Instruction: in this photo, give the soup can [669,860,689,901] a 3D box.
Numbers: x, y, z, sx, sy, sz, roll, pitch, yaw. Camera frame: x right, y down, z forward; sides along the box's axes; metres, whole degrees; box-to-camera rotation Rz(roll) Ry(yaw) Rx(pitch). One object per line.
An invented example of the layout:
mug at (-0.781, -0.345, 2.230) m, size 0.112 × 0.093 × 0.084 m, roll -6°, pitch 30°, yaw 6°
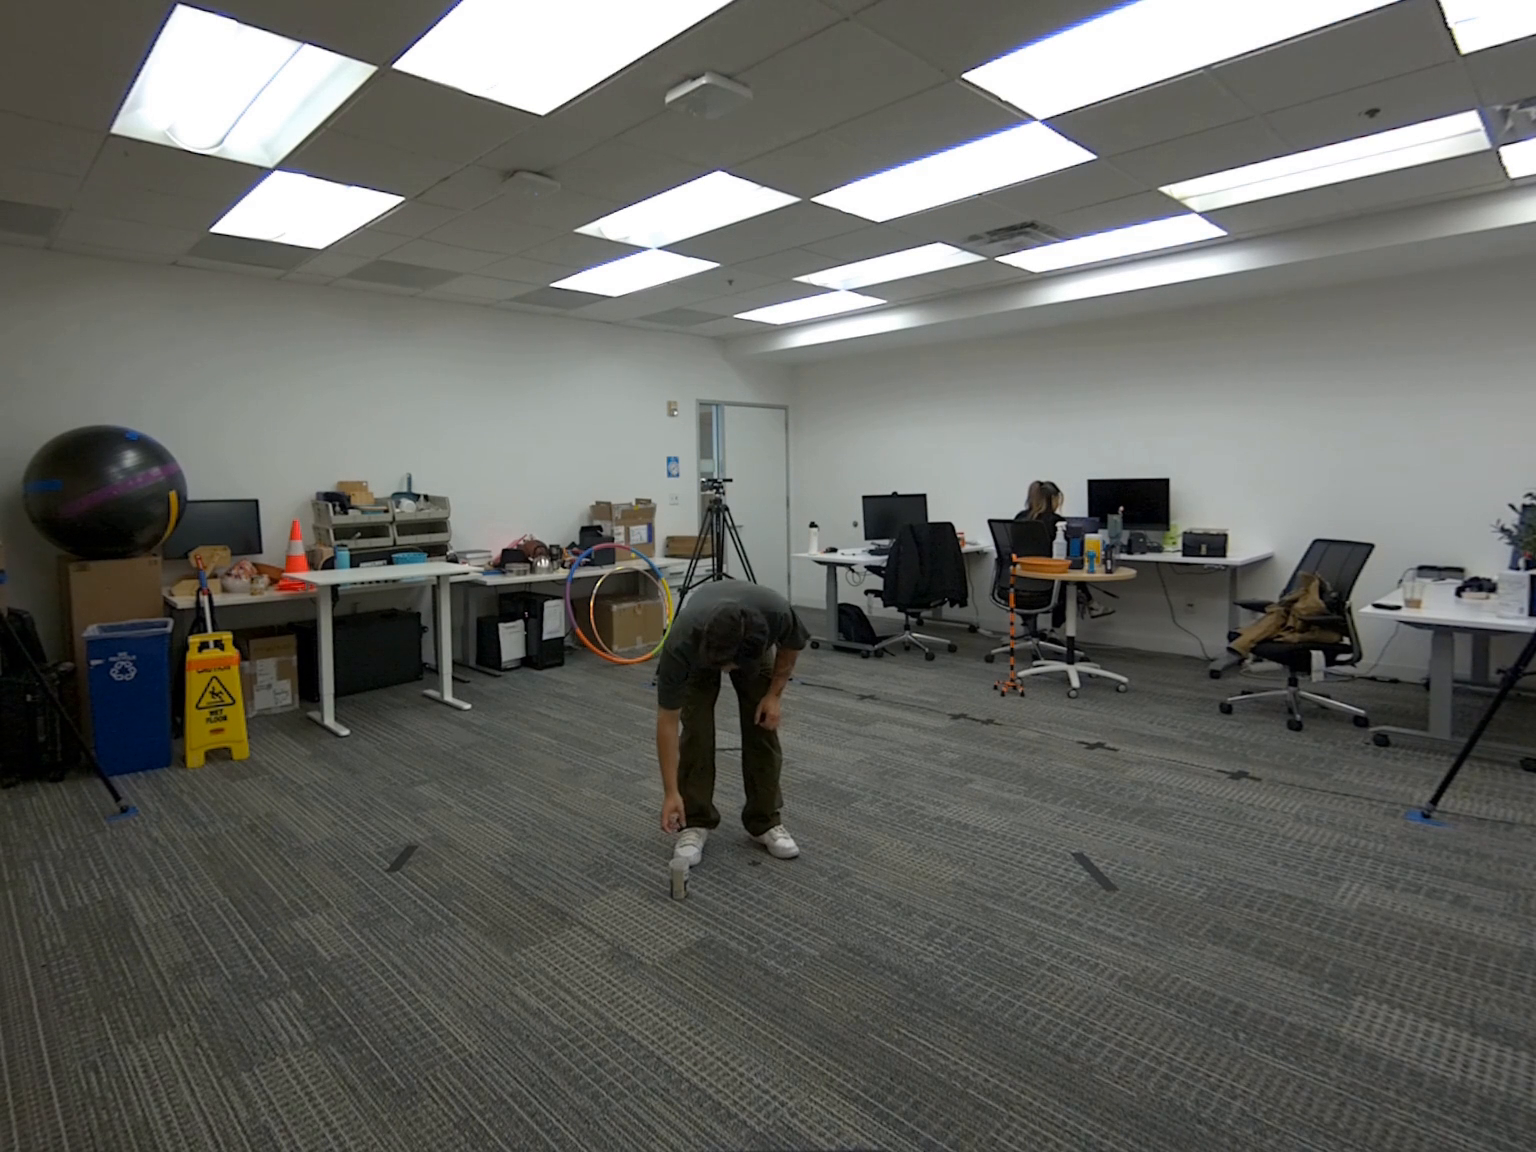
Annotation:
soup can at (-0.295, 1.023, 2.871) m, size 0.067 × 0.121 × 0.067 m, roll -2°, pitch 4°, yaw -2°
